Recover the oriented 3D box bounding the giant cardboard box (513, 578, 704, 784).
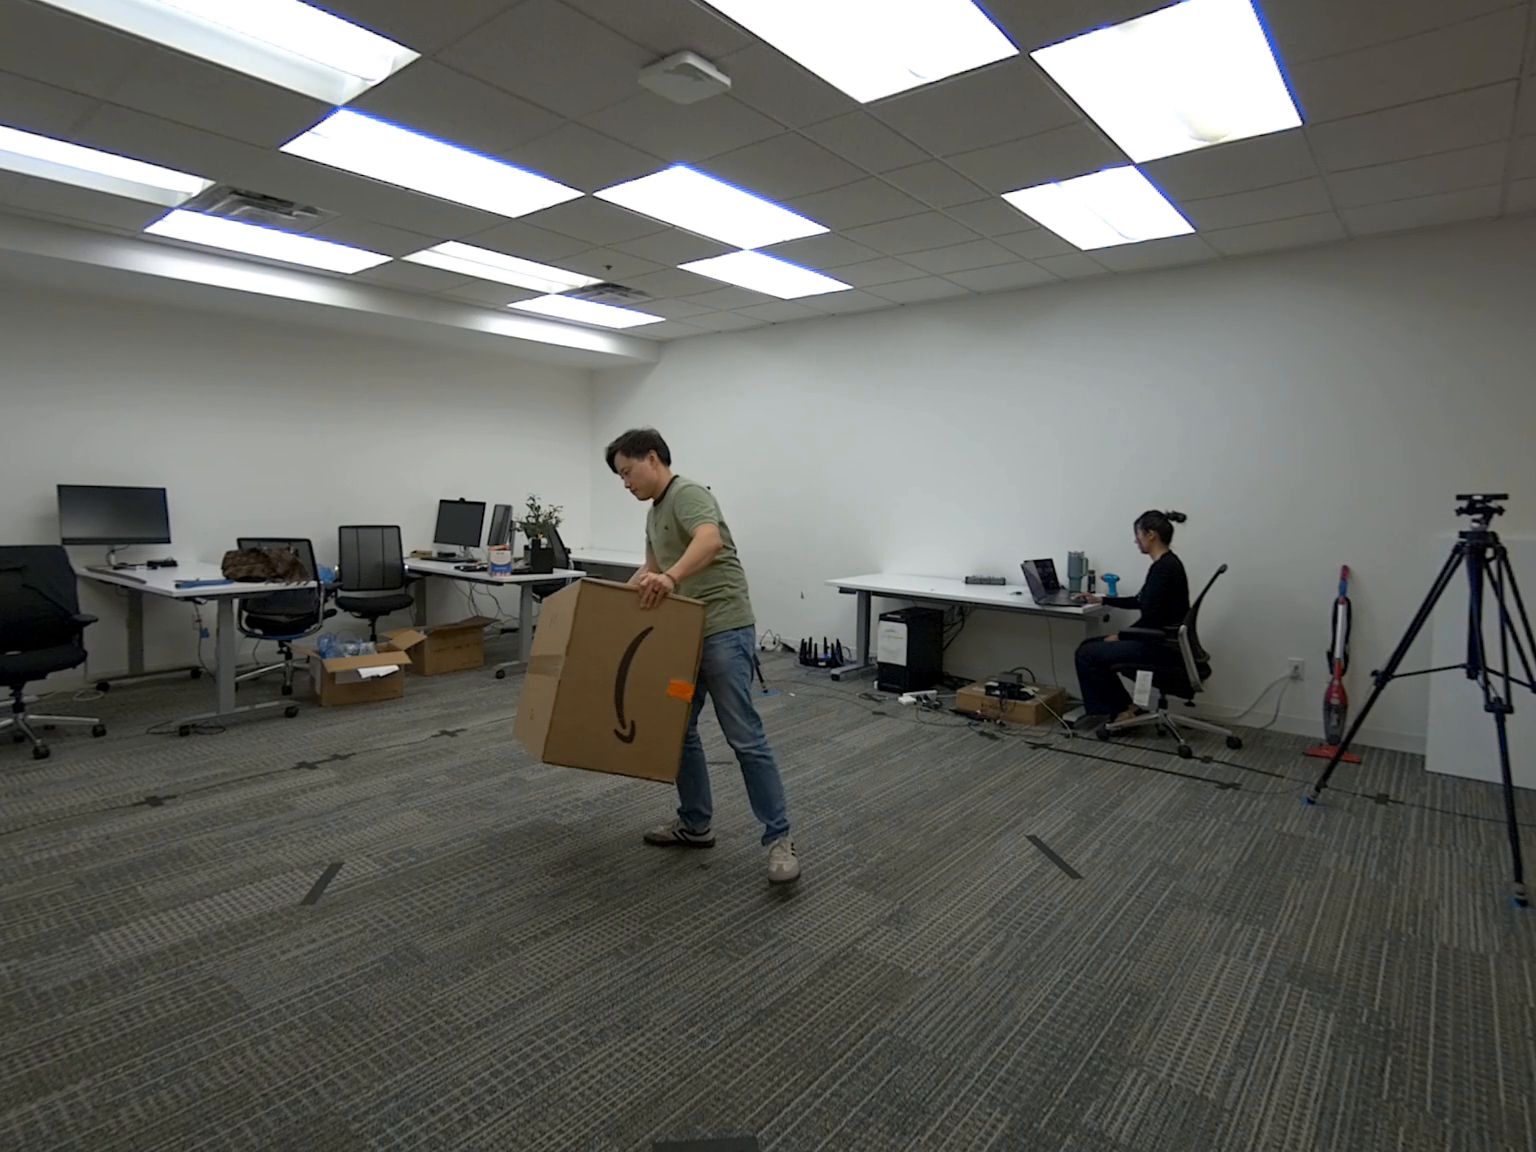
[{"bbox_3d":[-0.624,0.371,3.124,0.417,0.582,1.040,14,-10,-19],"label":"giant cardboard box"}]
